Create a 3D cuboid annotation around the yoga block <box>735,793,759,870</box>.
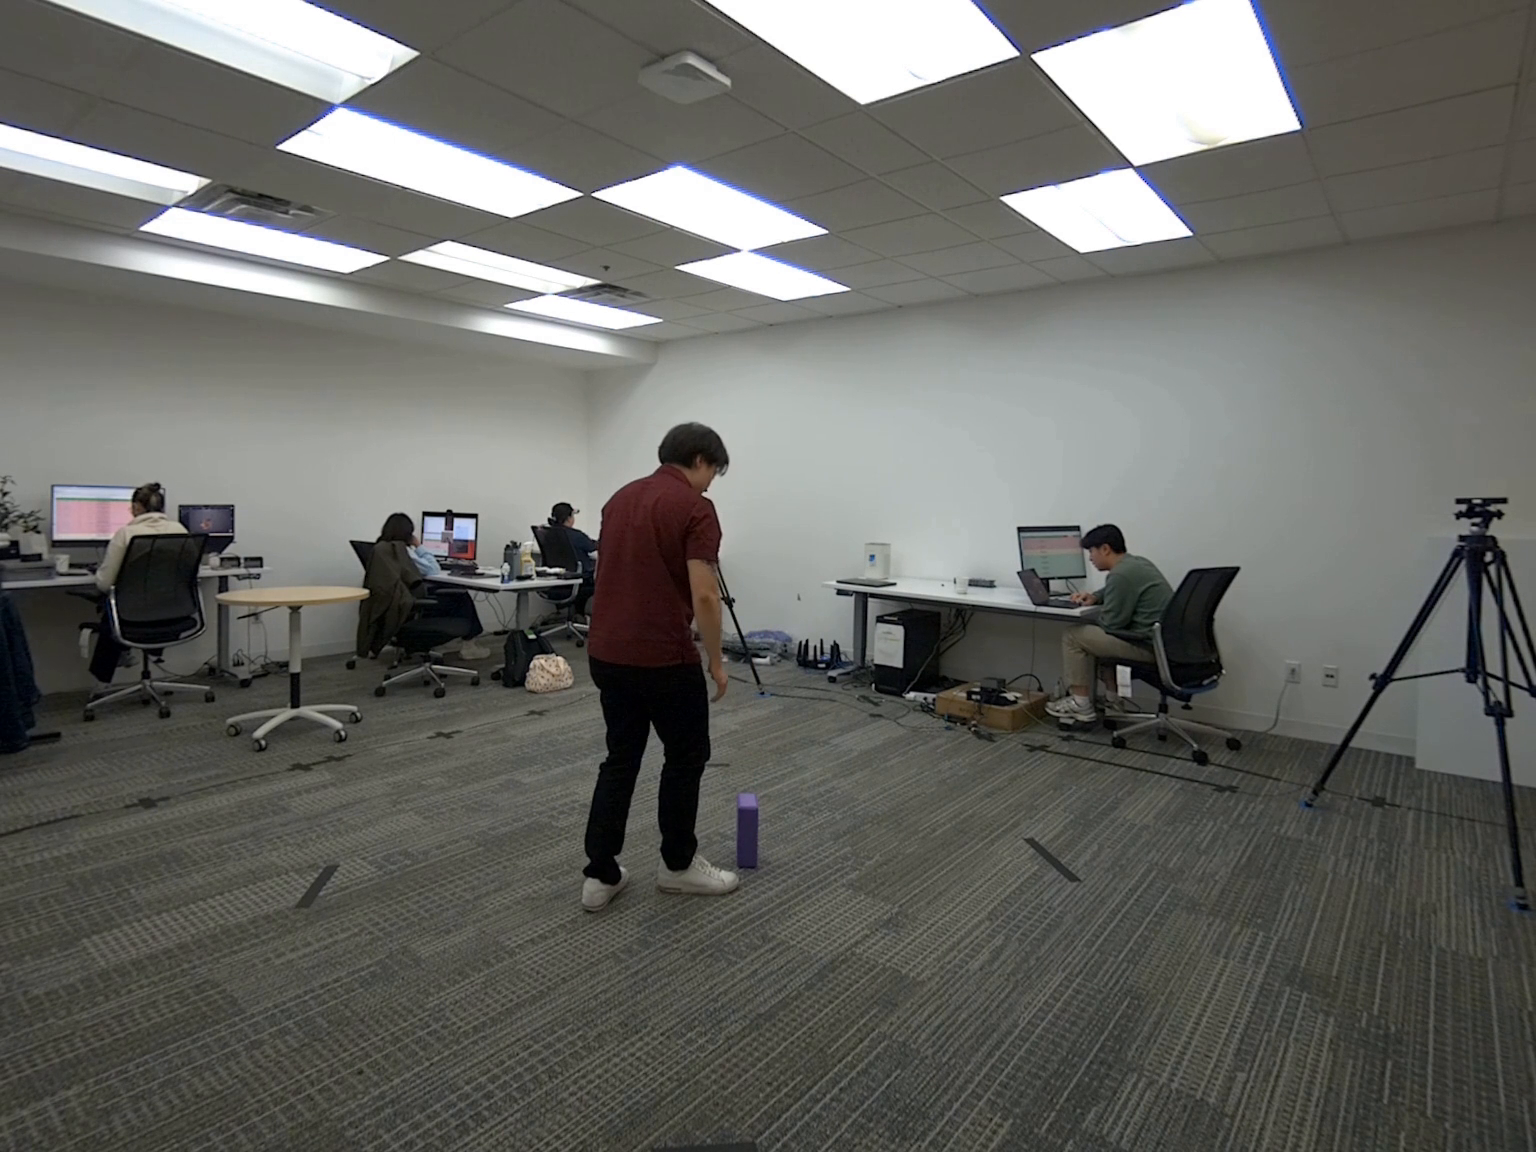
[{"bbox_3d":[-0.087,0.951,3.187,0.076,0.229,0.149,0,3,-2],"label":"yoga block"}]
